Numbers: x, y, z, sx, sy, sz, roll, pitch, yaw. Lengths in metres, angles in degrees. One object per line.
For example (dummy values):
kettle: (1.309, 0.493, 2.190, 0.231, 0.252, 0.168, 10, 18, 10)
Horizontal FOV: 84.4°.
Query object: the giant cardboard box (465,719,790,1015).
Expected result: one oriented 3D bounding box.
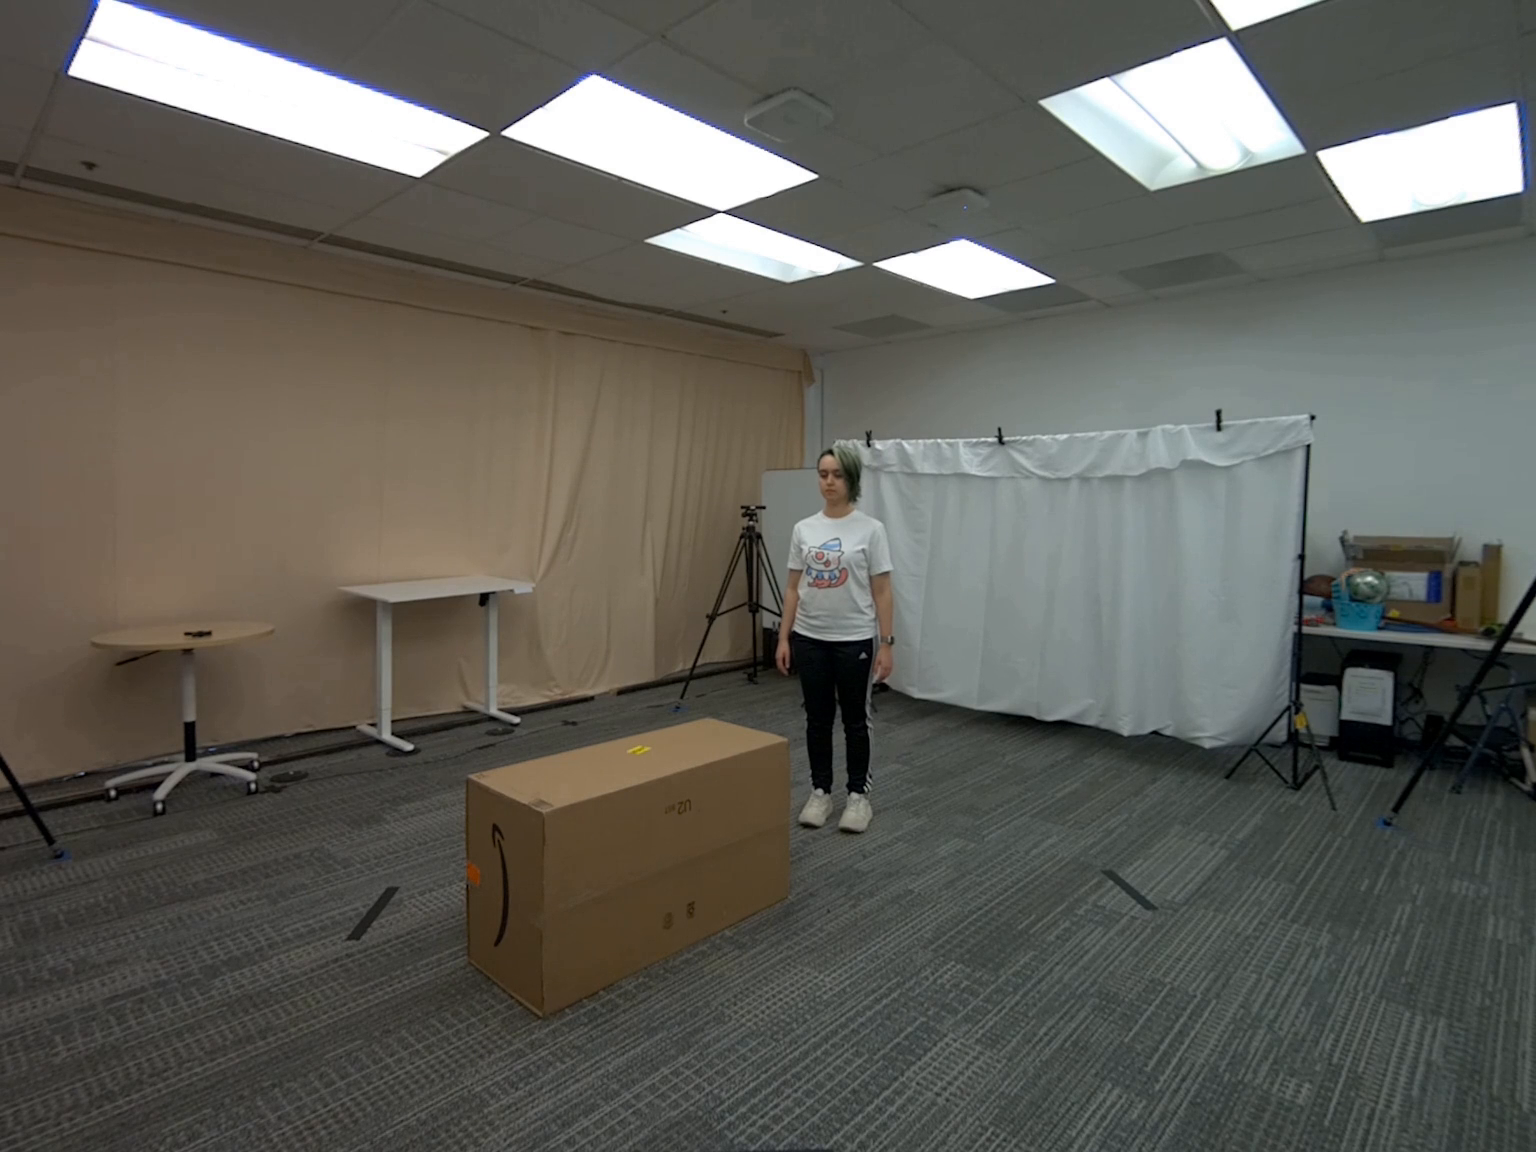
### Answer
giant cardboard box: (-0.422, 0.877, 2.773, 0.461, 0.583, 0.995, 2, 4, 43)
